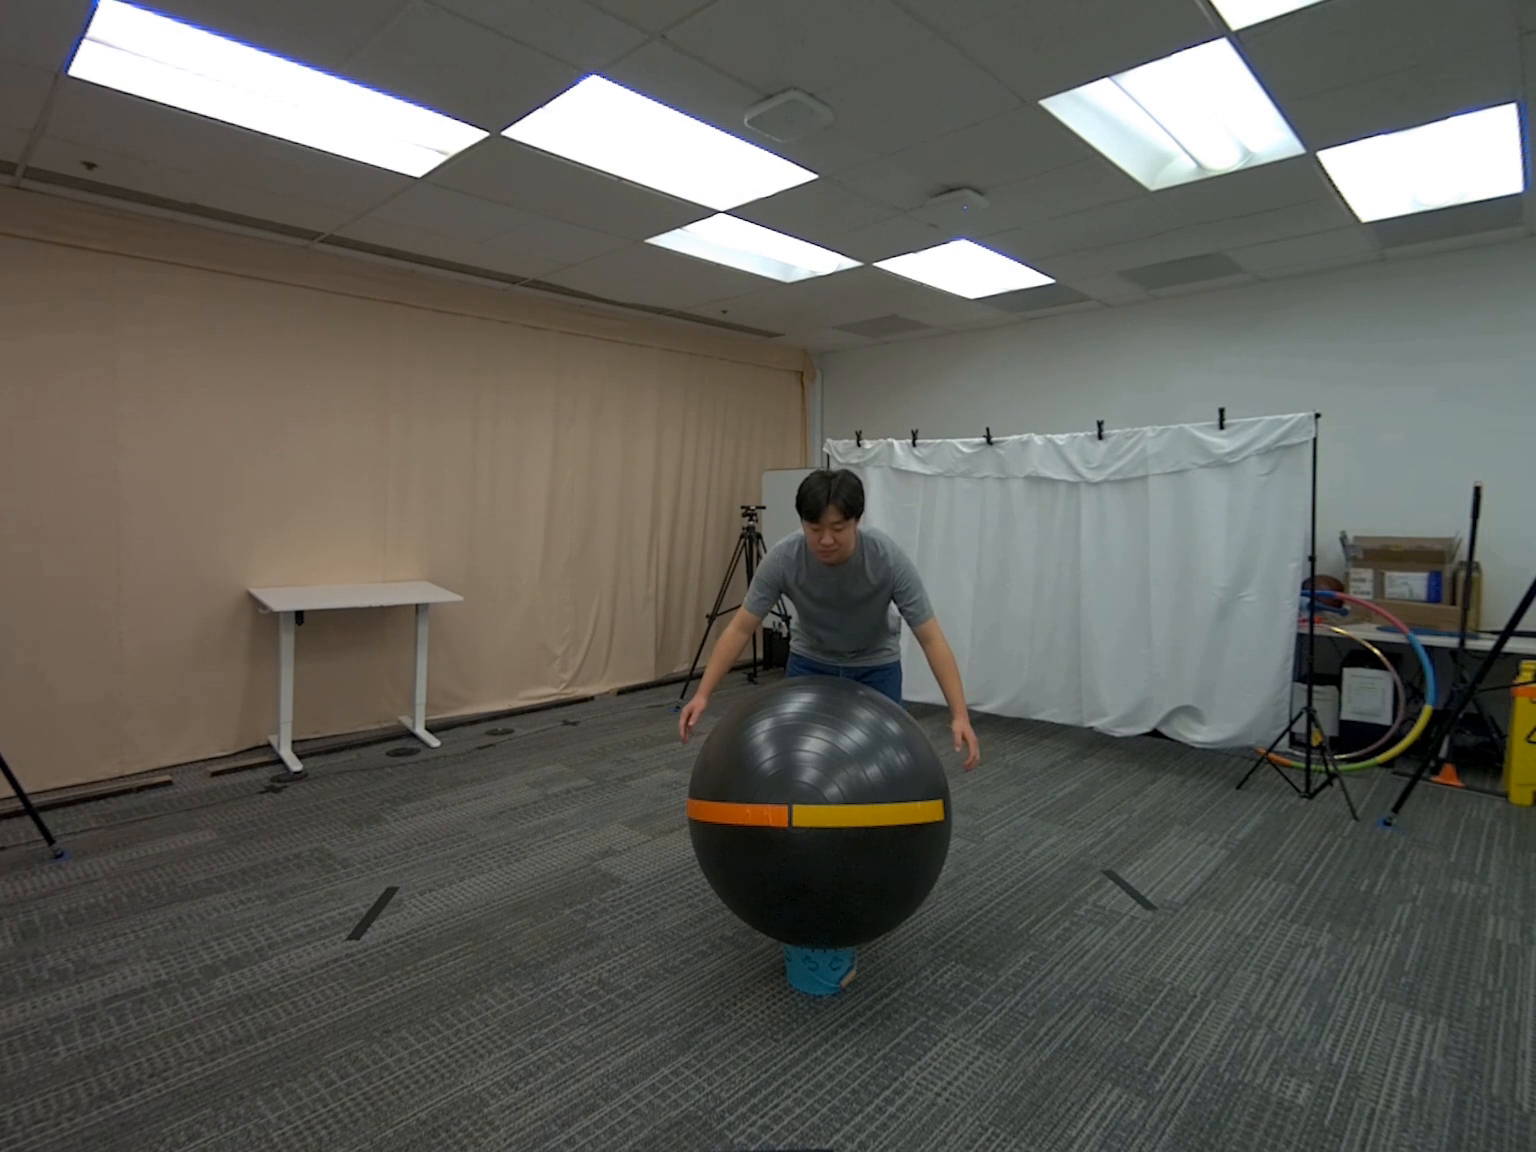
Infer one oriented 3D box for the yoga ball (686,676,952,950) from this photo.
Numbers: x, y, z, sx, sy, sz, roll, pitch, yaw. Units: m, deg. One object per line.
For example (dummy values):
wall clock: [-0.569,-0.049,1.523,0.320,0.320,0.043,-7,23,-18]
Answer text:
yoga ball: [0.147,0.674,2.468,0.757,0.756,0.761,0,4,-2]
